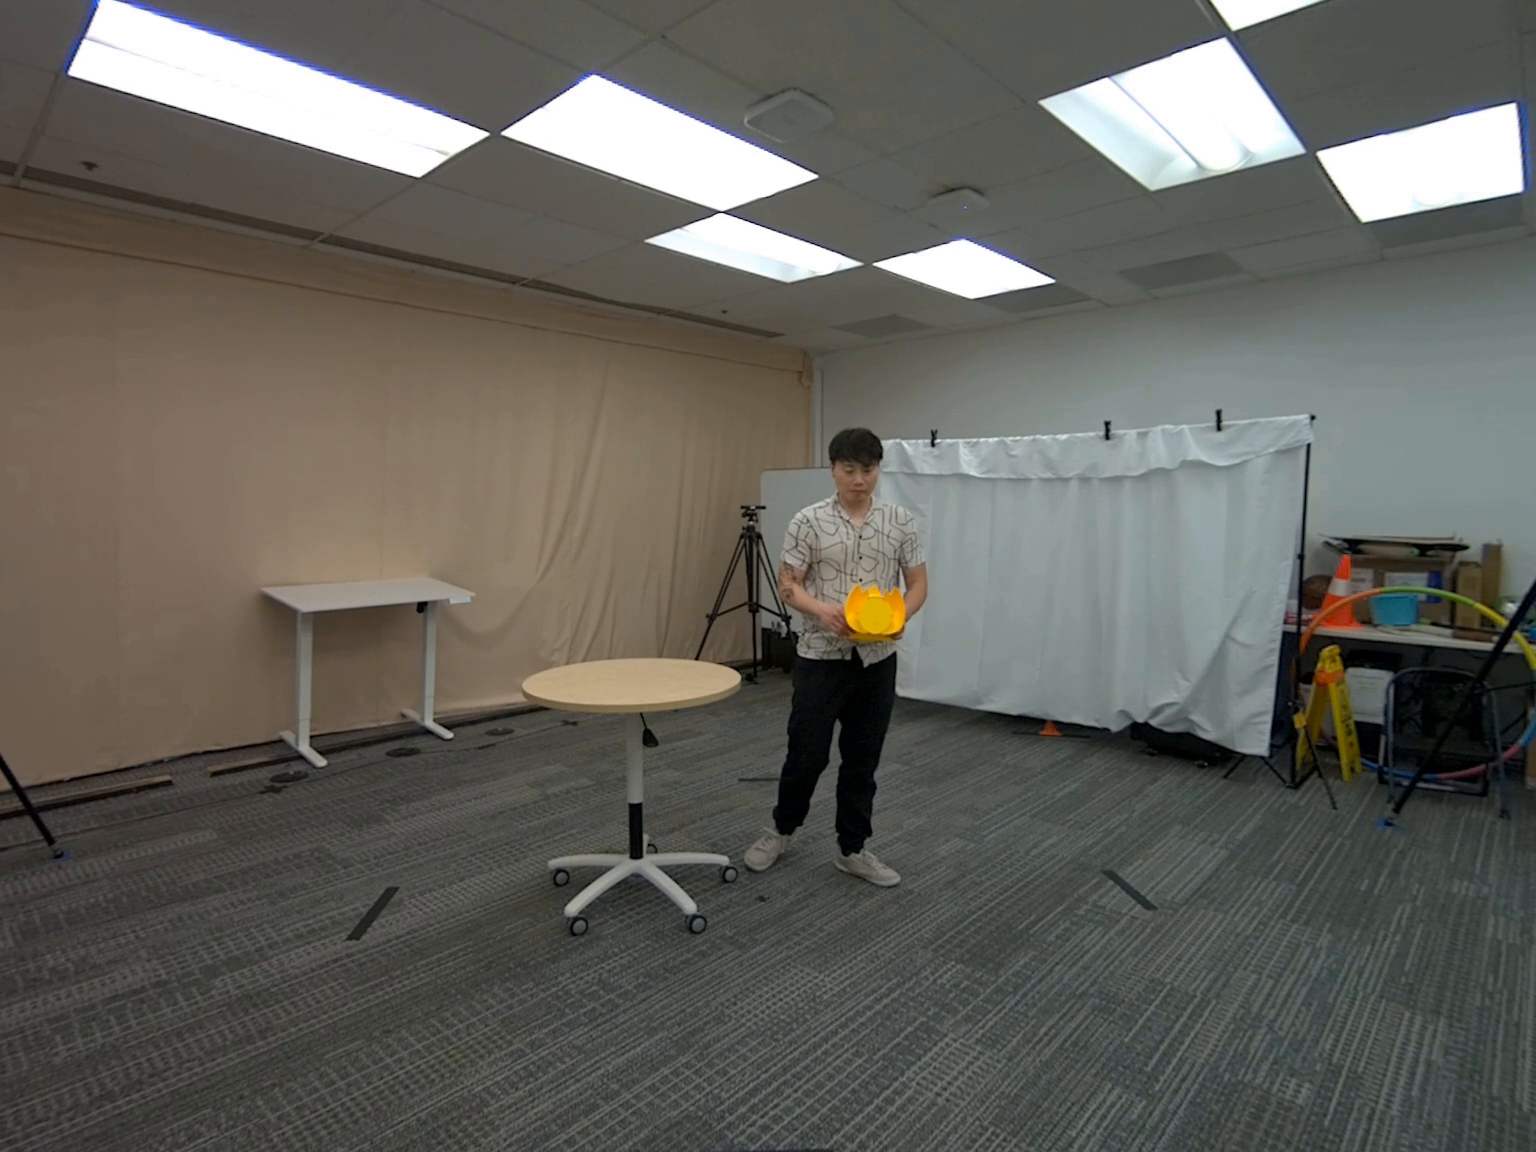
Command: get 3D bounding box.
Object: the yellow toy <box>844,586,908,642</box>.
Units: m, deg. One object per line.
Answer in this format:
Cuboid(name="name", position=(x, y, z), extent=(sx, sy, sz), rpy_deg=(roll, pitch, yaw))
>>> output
Cuboid(name="yellow toy", position=(0.333, 0.129, 2.924), extent=(0.204, 0.193, 0.231), rpy_deg=(4, -3, -6))
